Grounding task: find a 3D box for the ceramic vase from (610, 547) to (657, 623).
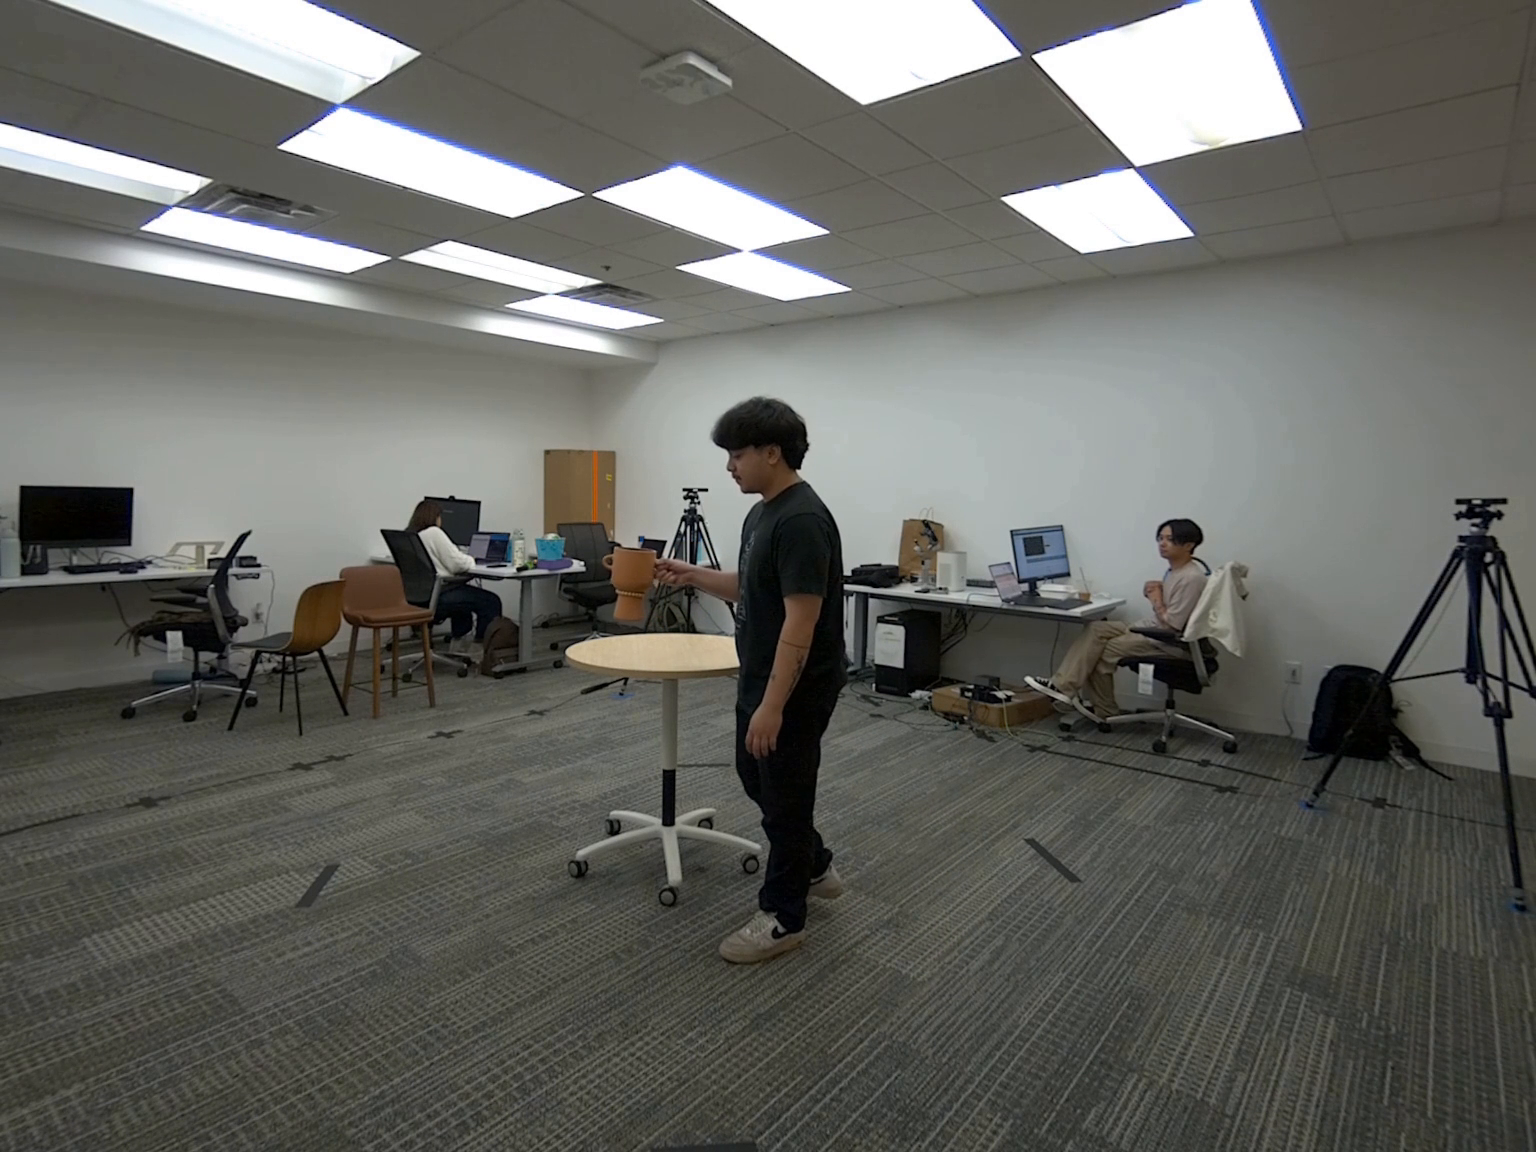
[{"bbox_3d":[-0.440,0.022,2.689,0.164,0.219,0.131,5,3,32],"label":"ceramic vase"}]
